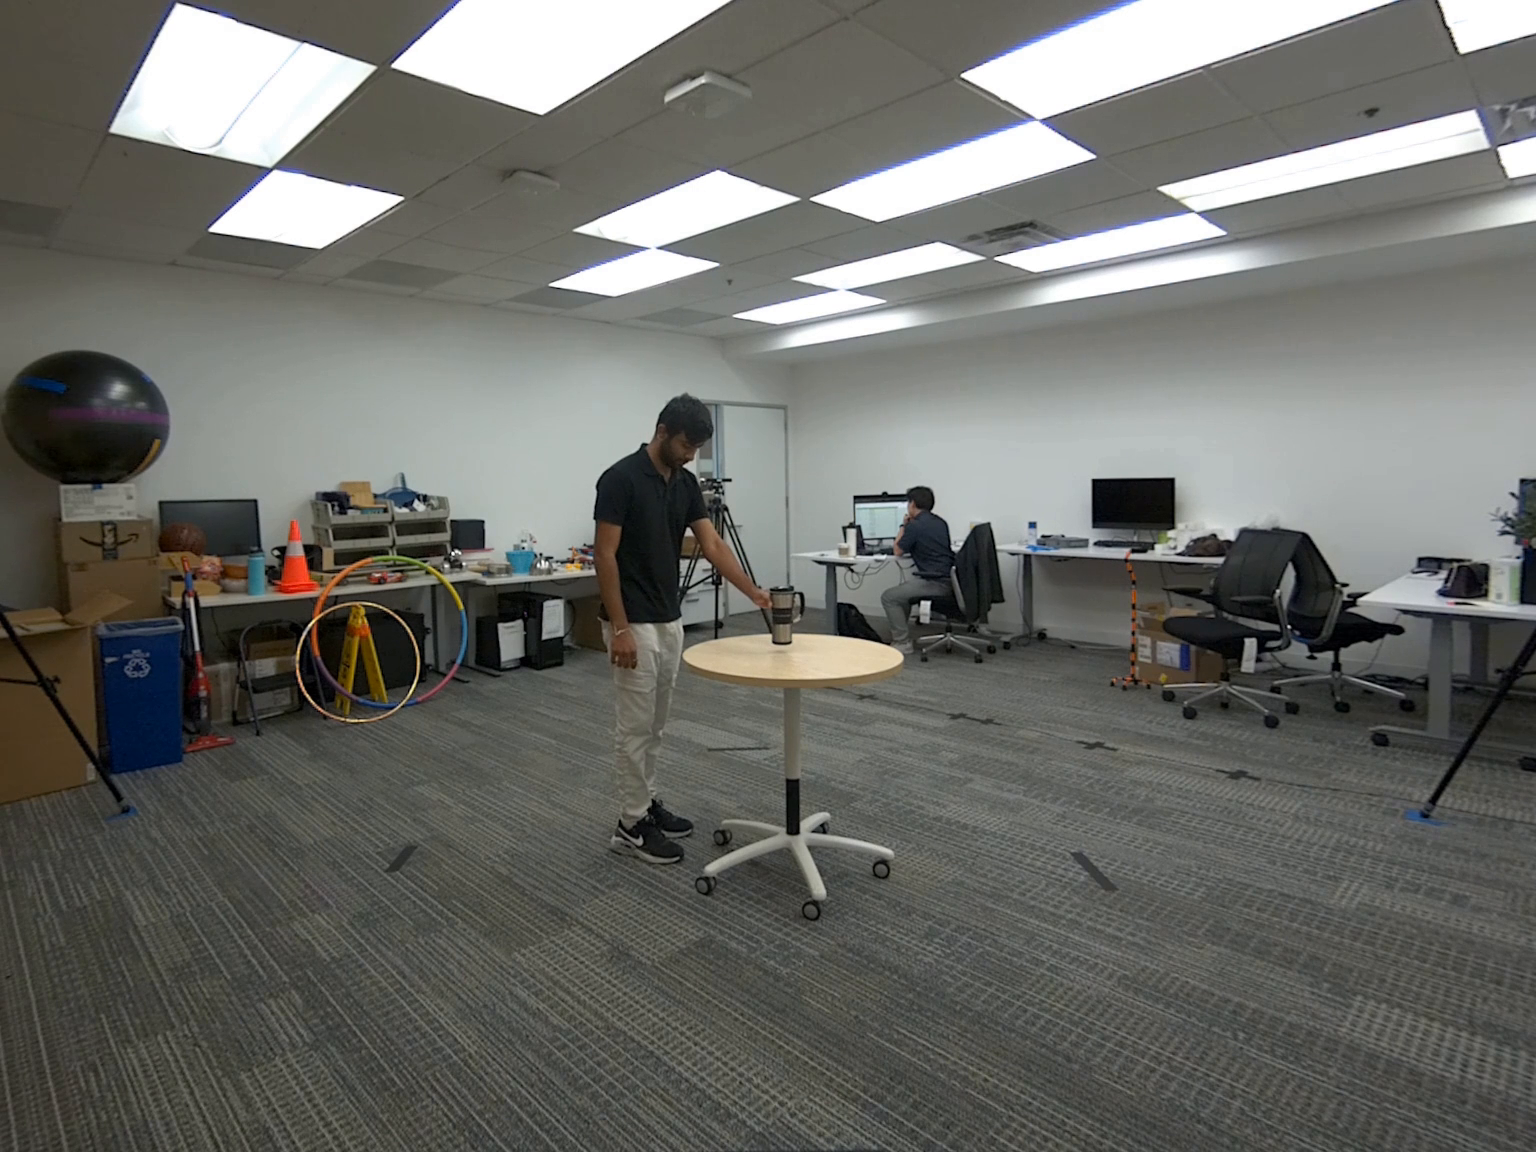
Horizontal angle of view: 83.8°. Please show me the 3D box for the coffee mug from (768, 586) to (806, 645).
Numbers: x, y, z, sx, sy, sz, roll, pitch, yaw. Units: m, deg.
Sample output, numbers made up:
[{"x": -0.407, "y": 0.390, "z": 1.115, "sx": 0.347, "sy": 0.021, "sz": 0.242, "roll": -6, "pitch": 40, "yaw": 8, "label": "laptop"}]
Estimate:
[{"x": 0.062, "y": 0.140, "z": 3.001, "sx": 0.123, "sy": 0.202, "sz": 0.087, "roll": -3, "pitch": 3, "yaw": 12, "label": "coffee mug"}]
